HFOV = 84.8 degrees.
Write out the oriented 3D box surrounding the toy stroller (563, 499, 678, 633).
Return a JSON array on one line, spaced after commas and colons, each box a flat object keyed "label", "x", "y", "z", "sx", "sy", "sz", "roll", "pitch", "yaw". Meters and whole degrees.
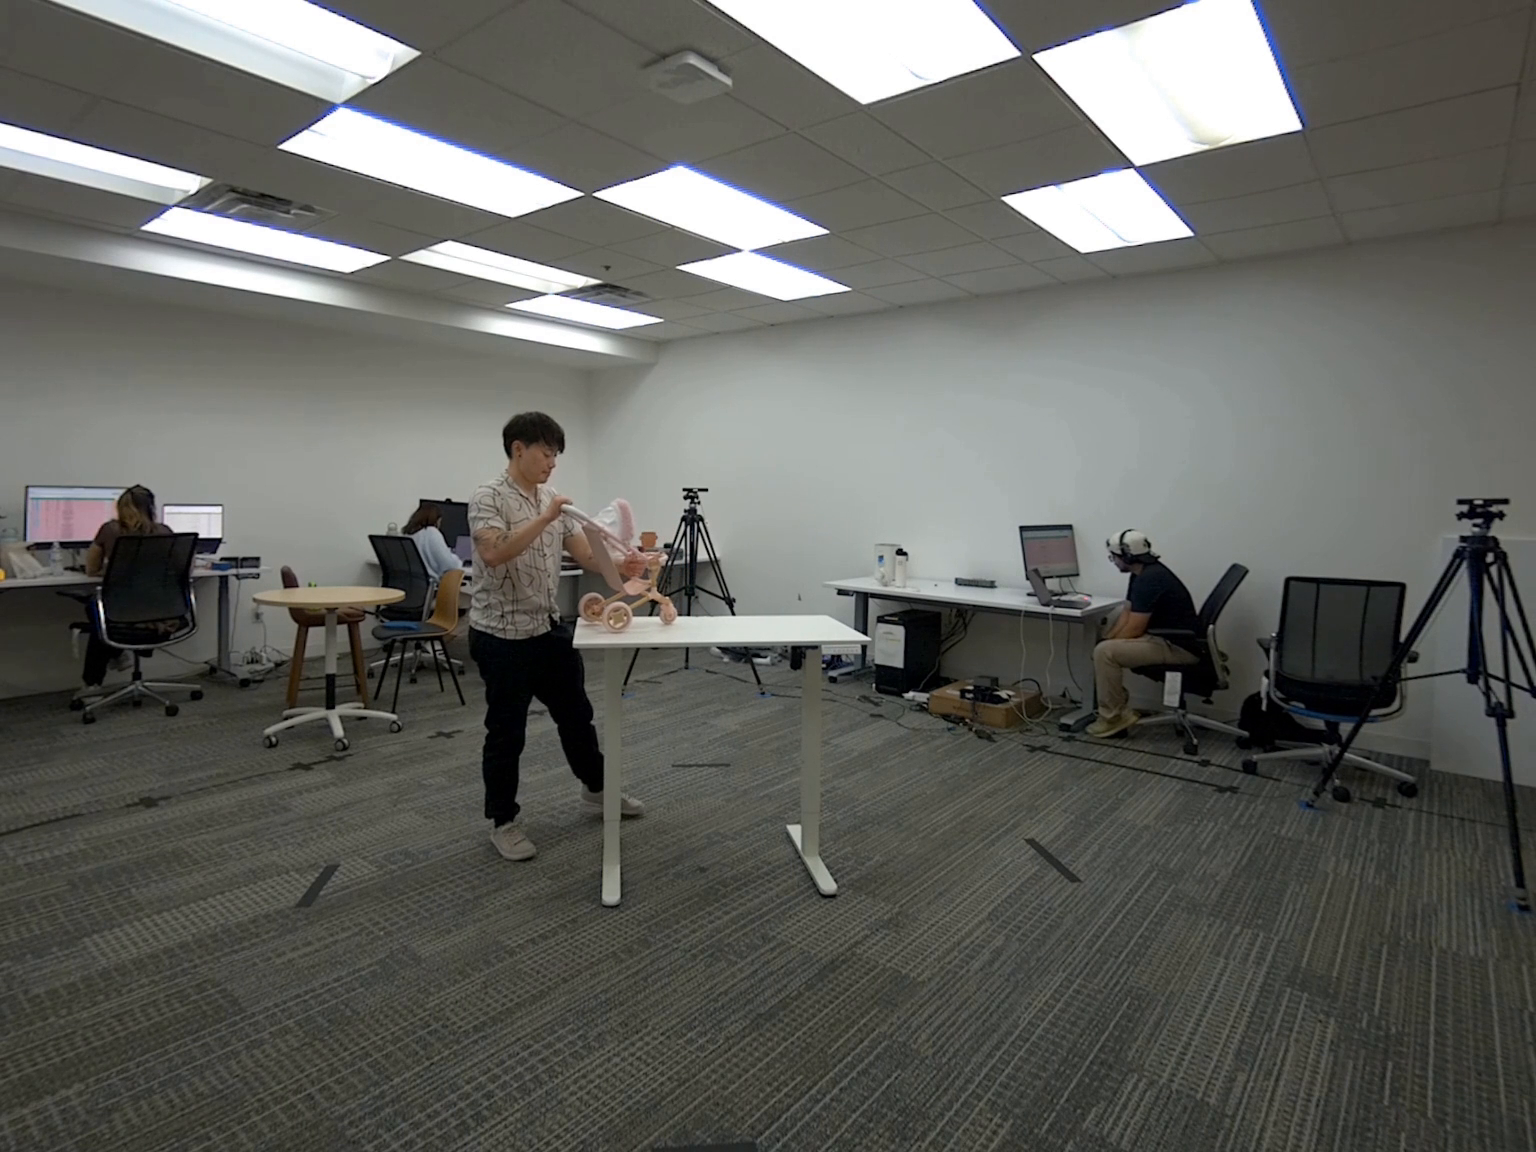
[{"label": "toy stroller", "x": -0.536, "y": -0.041, "z": 3.090, "sx": 0.336, "sy": 0.529, "sz": 0.289, "roll": -16, "pitch": 11, "yaw": -23}]
